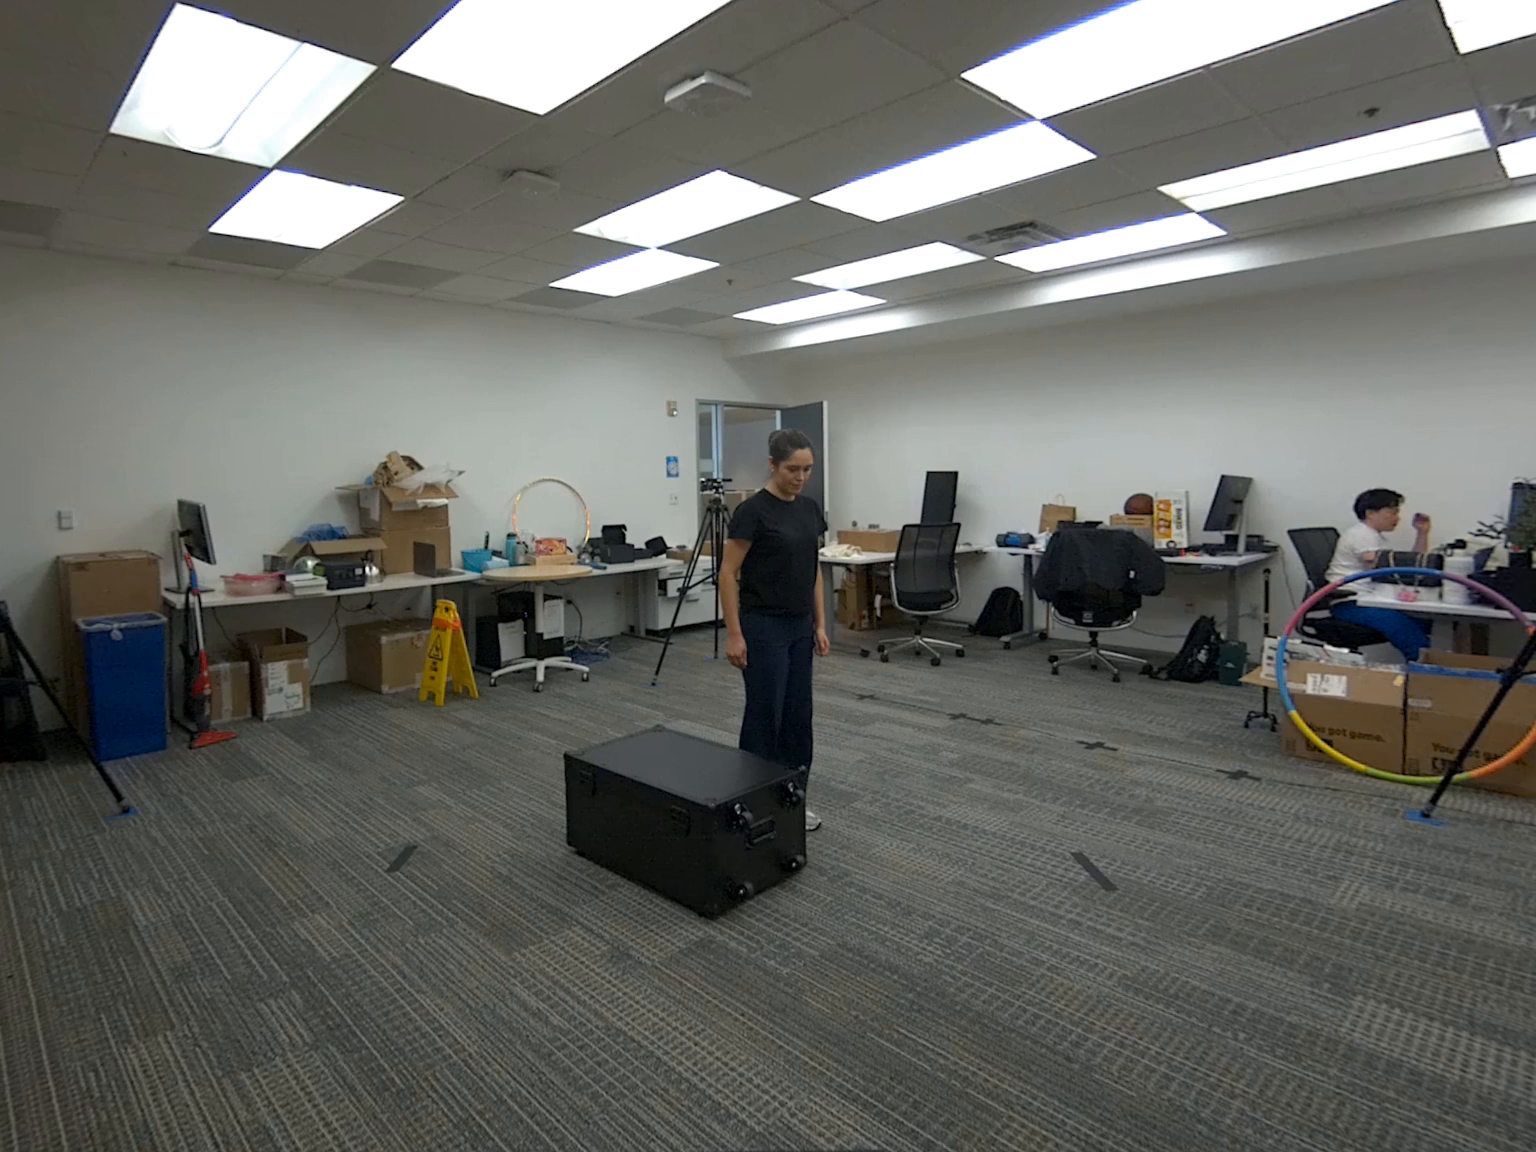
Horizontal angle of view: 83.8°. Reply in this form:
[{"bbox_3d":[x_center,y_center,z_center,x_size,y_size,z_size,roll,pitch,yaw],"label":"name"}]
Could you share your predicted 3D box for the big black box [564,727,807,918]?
[{"bbox_3d":[-0.294,0.859,3.104,0.888,0.395,0.508,4,7,42],"label":"big black box"}]
